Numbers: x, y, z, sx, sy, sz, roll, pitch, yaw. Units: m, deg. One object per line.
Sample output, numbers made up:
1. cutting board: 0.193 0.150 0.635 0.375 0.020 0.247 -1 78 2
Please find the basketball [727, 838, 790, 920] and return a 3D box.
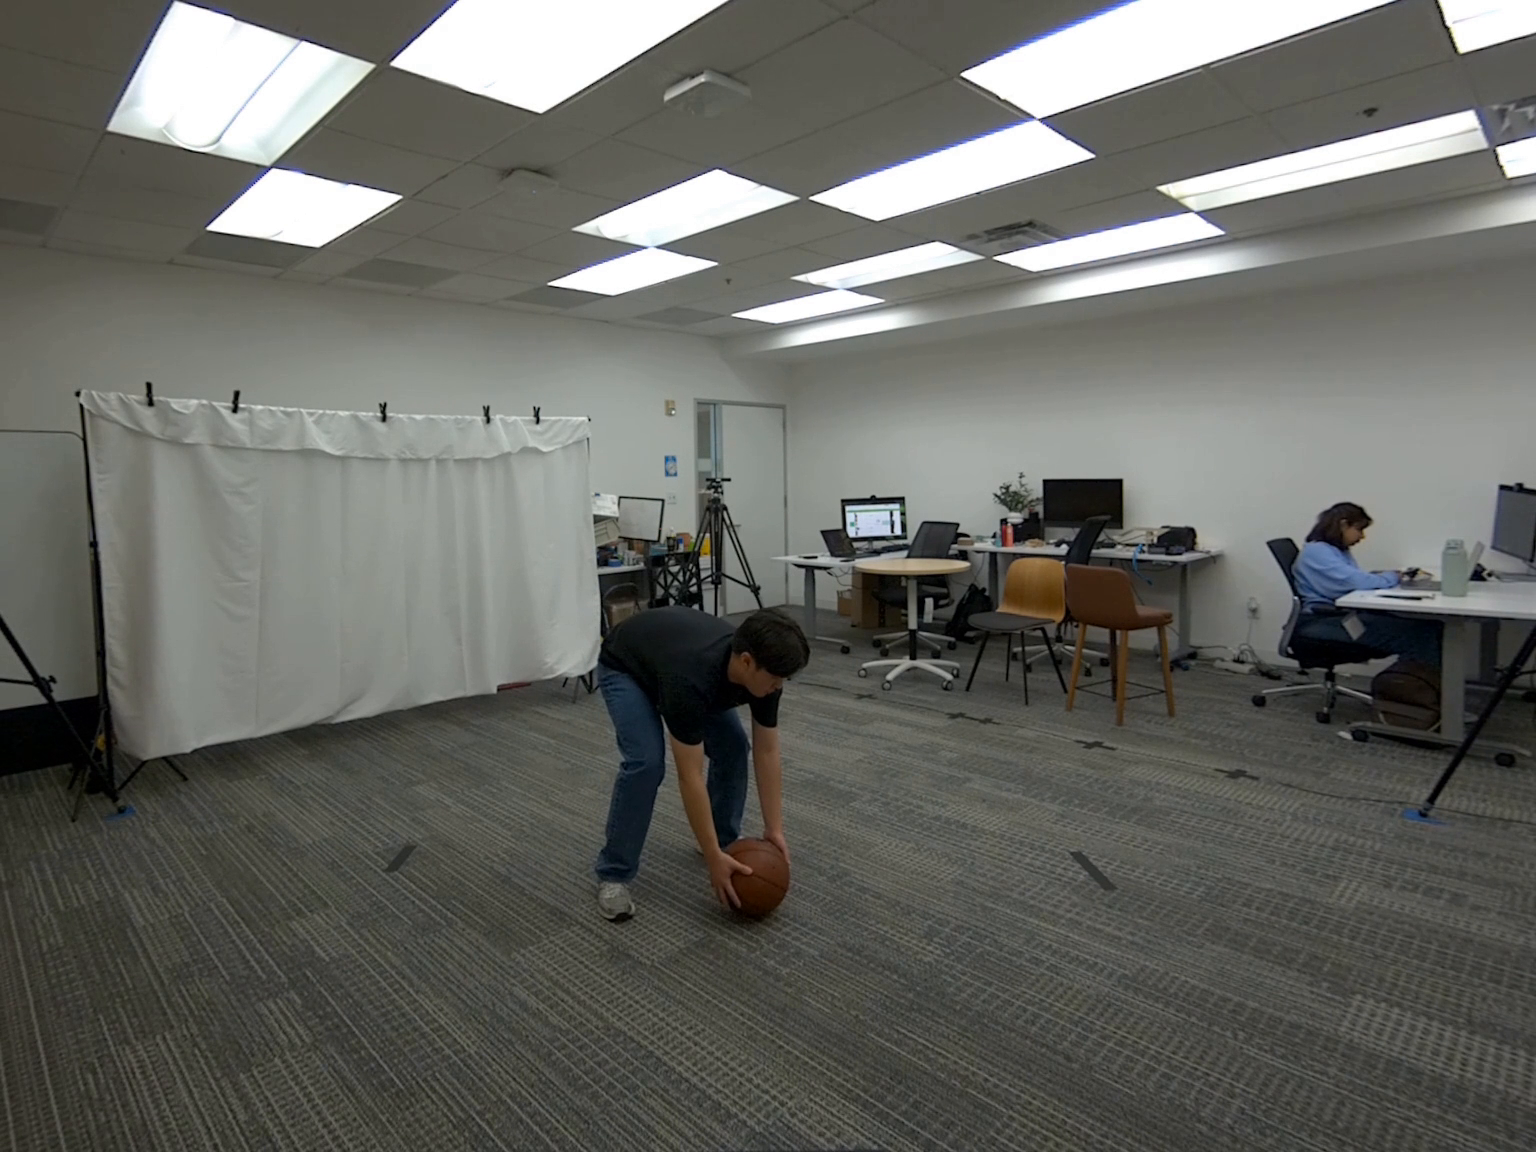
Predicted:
1. basketball: -0.057 0.961 2.740 0.236 0.235 0.237 -1 5 -2
